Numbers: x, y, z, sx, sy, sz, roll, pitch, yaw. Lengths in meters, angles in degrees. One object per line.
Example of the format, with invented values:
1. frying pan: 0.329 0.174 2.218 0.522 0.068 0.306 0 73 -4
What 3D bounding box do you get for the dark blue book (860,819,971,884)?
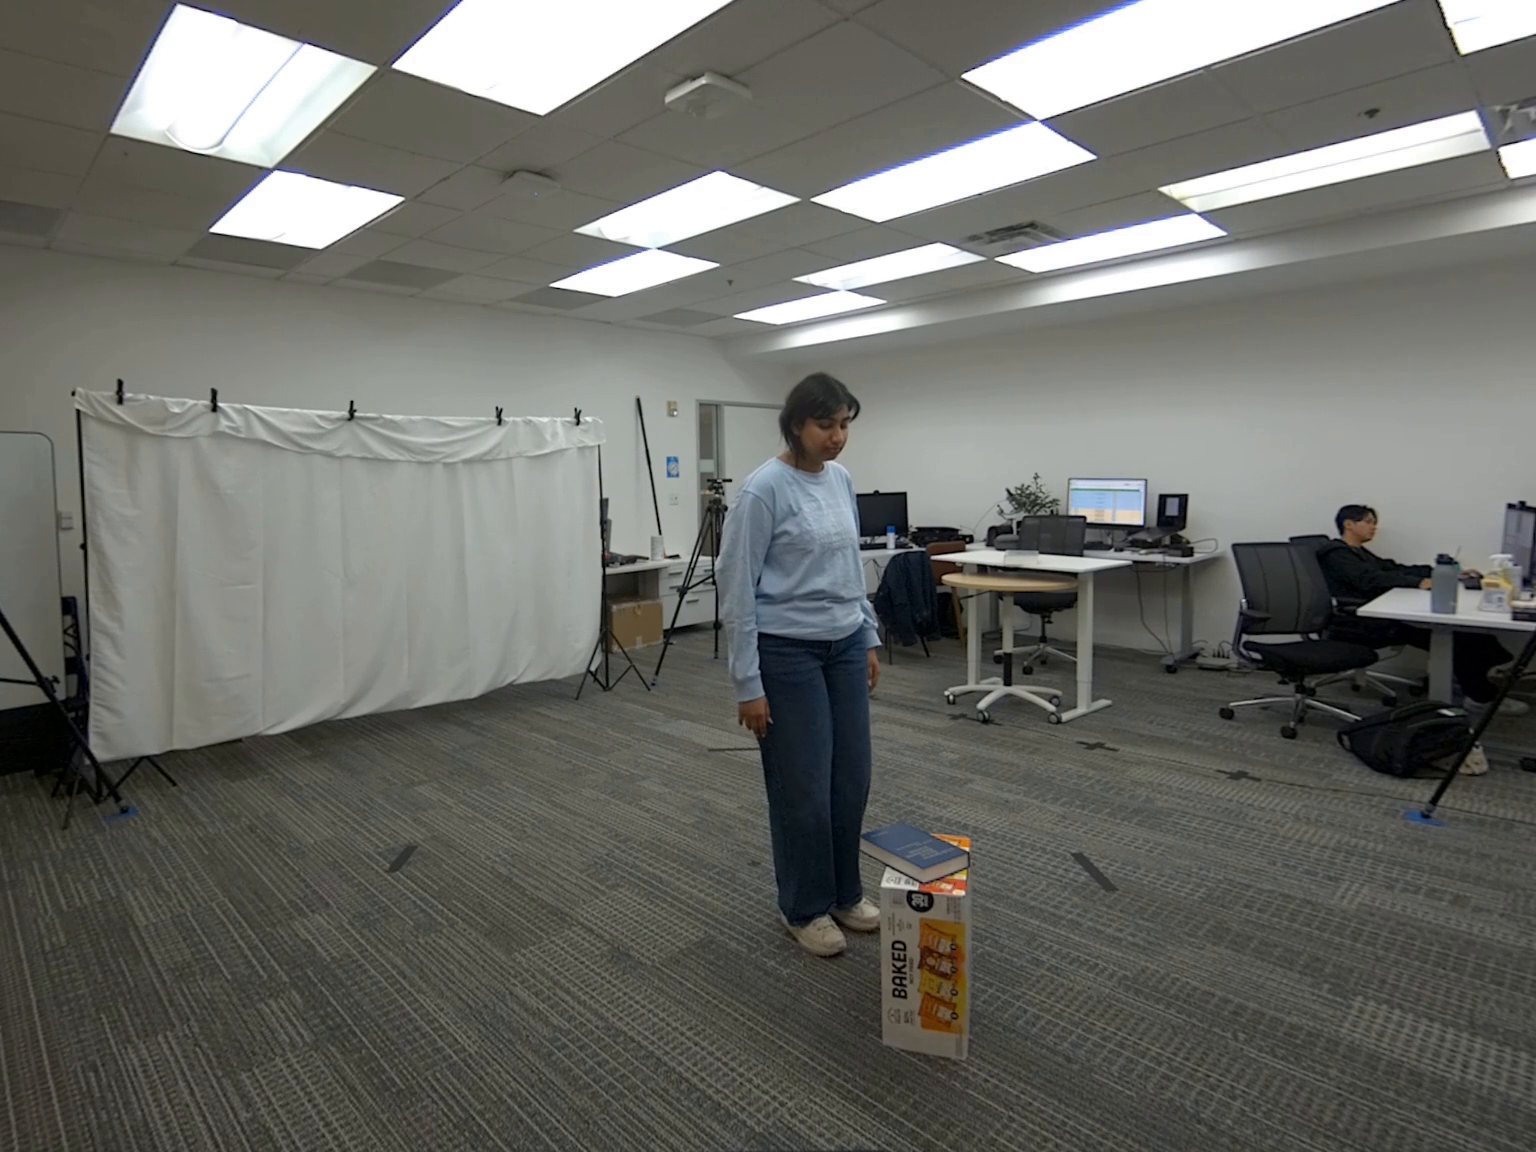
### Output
1. dark blue book: 0.373 0.711 2.231 0.159 0.045 0.252 -6 6 -34
